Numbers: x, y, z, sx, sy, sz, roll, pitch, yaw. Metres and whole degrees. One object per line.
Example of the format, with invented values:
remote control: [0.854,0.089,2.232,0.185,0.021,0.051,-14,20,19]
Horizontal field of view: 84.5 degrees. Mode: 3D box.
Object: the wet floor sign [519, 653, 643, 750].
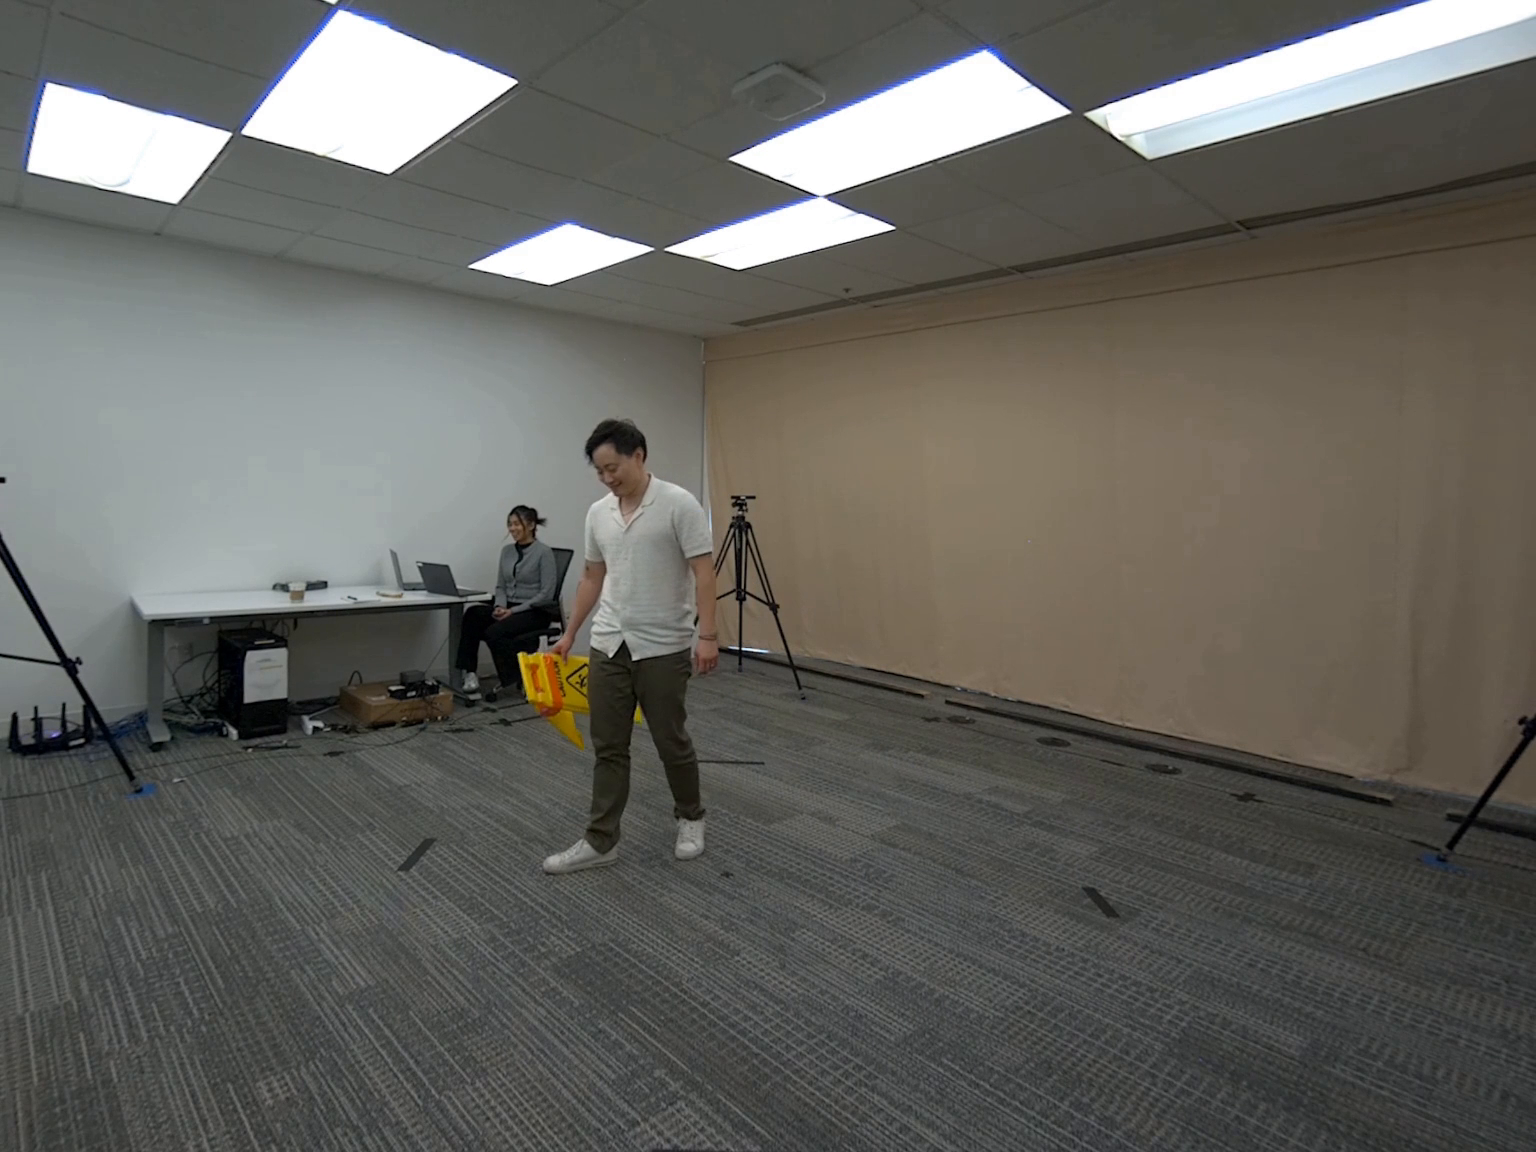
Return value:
wet floor sign: [-0.807,0.466,3.361,0.291,0.289,0.629,-25,-25,9]
